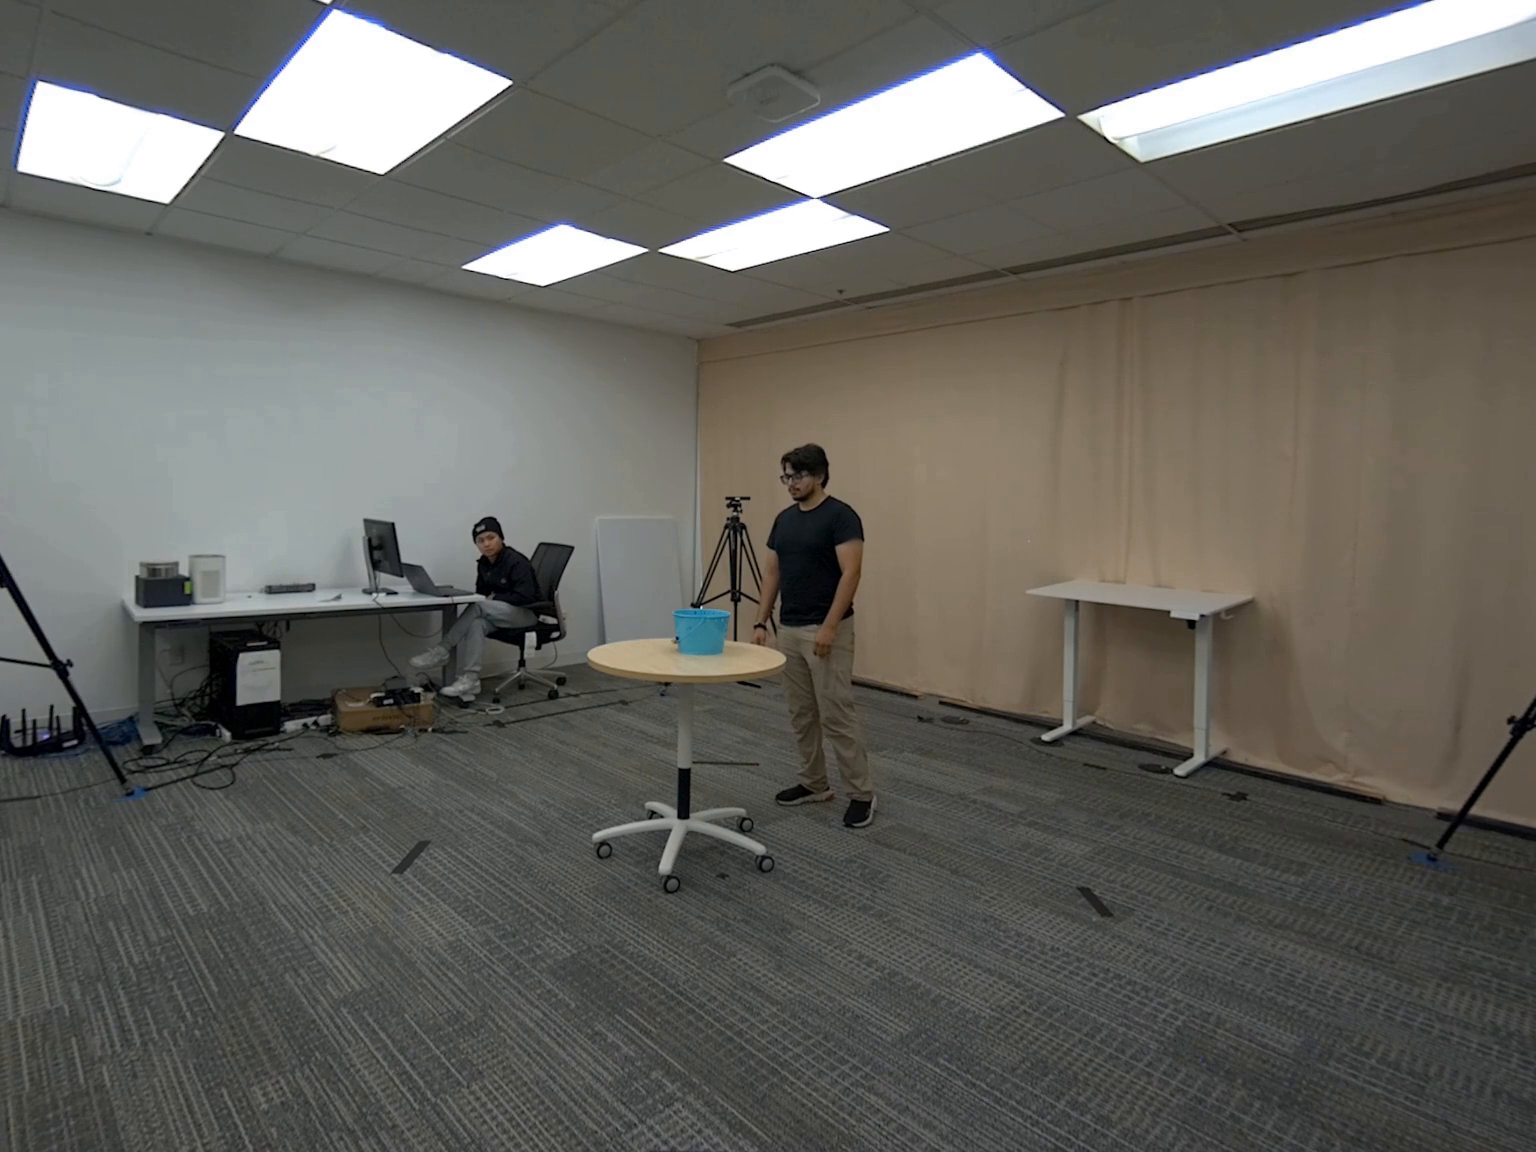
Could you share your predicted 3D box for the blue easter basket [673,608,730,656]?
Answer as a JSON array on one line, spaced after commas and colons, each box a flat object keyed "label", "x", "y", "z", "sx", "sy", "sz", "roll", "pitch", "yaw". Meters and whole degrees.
[{"label": "blue easter basket", "x": -0.280, "y": 0.224, "z": 3.351, "sx": 0.243, "sy": 0.155, "sz": 0.244, "roll": 1, "pitch": 4, "yaw": -1}]
